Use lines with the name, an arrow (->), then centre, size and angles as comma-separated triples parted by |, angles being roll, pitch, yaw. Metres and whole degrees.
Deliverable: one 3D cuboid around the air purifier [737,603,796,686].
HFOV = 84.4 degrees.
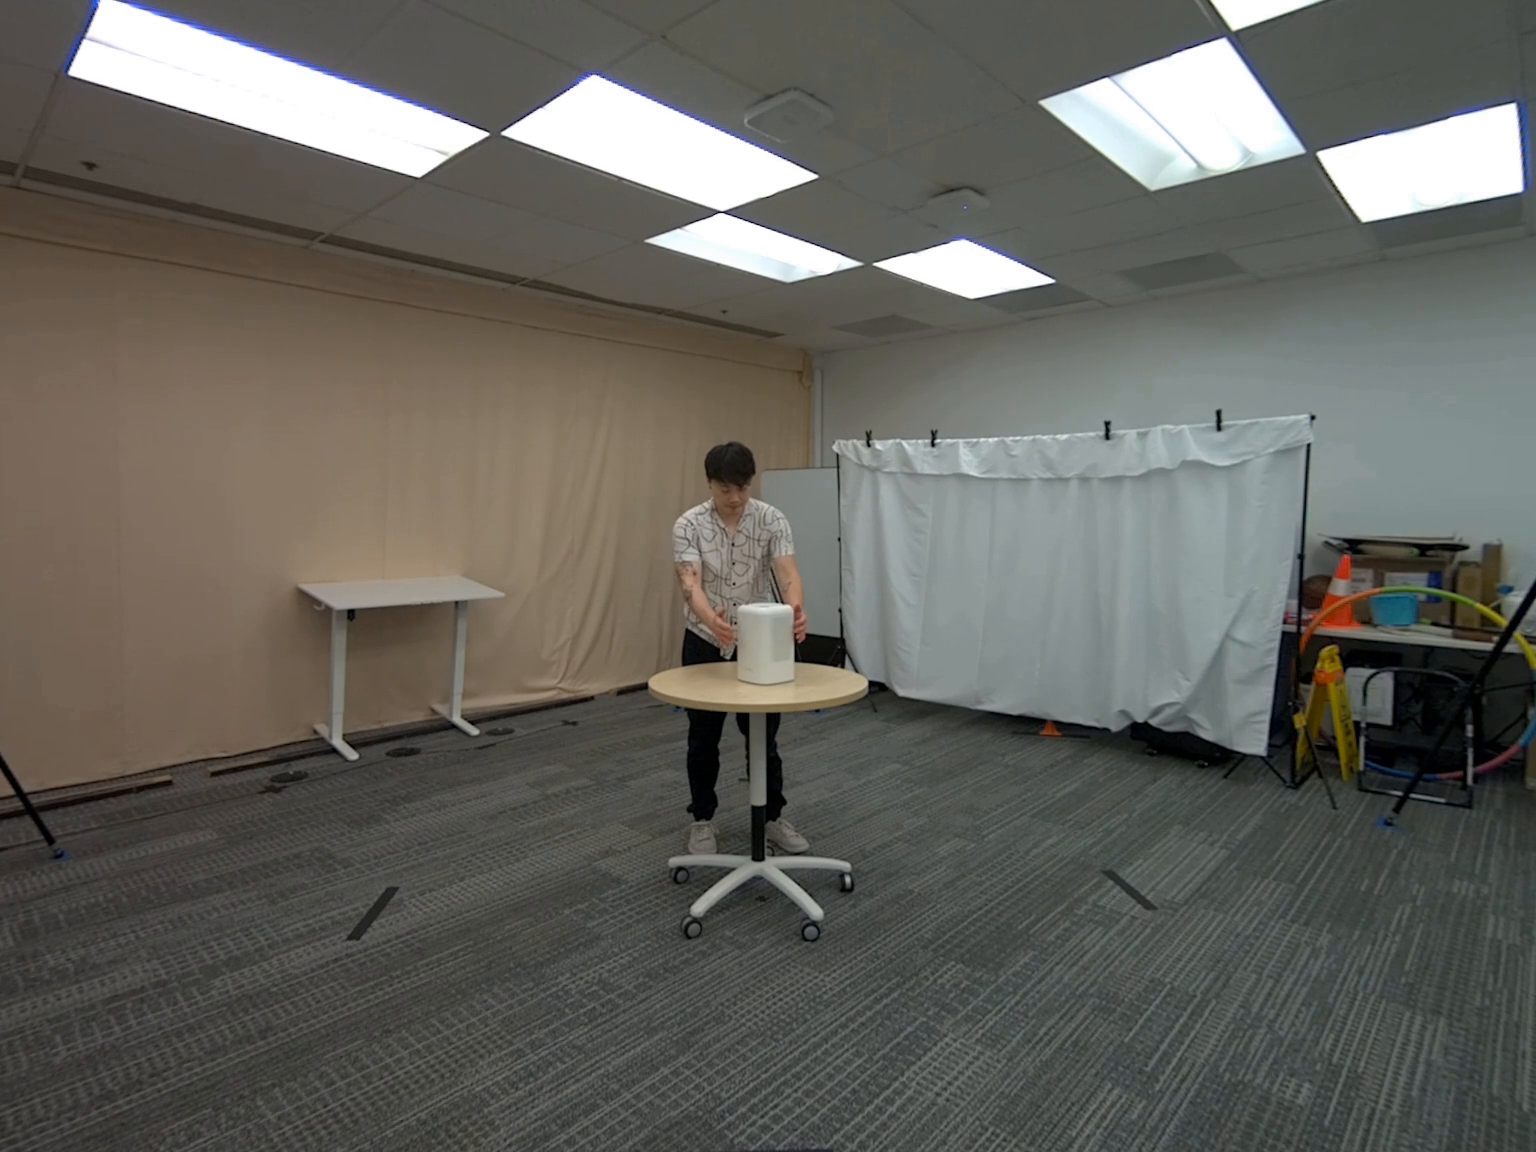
air purifier -> -0.006, 0.232, 2.945 | 0.166, 0.265, 0.177 | -4, 5, -41
